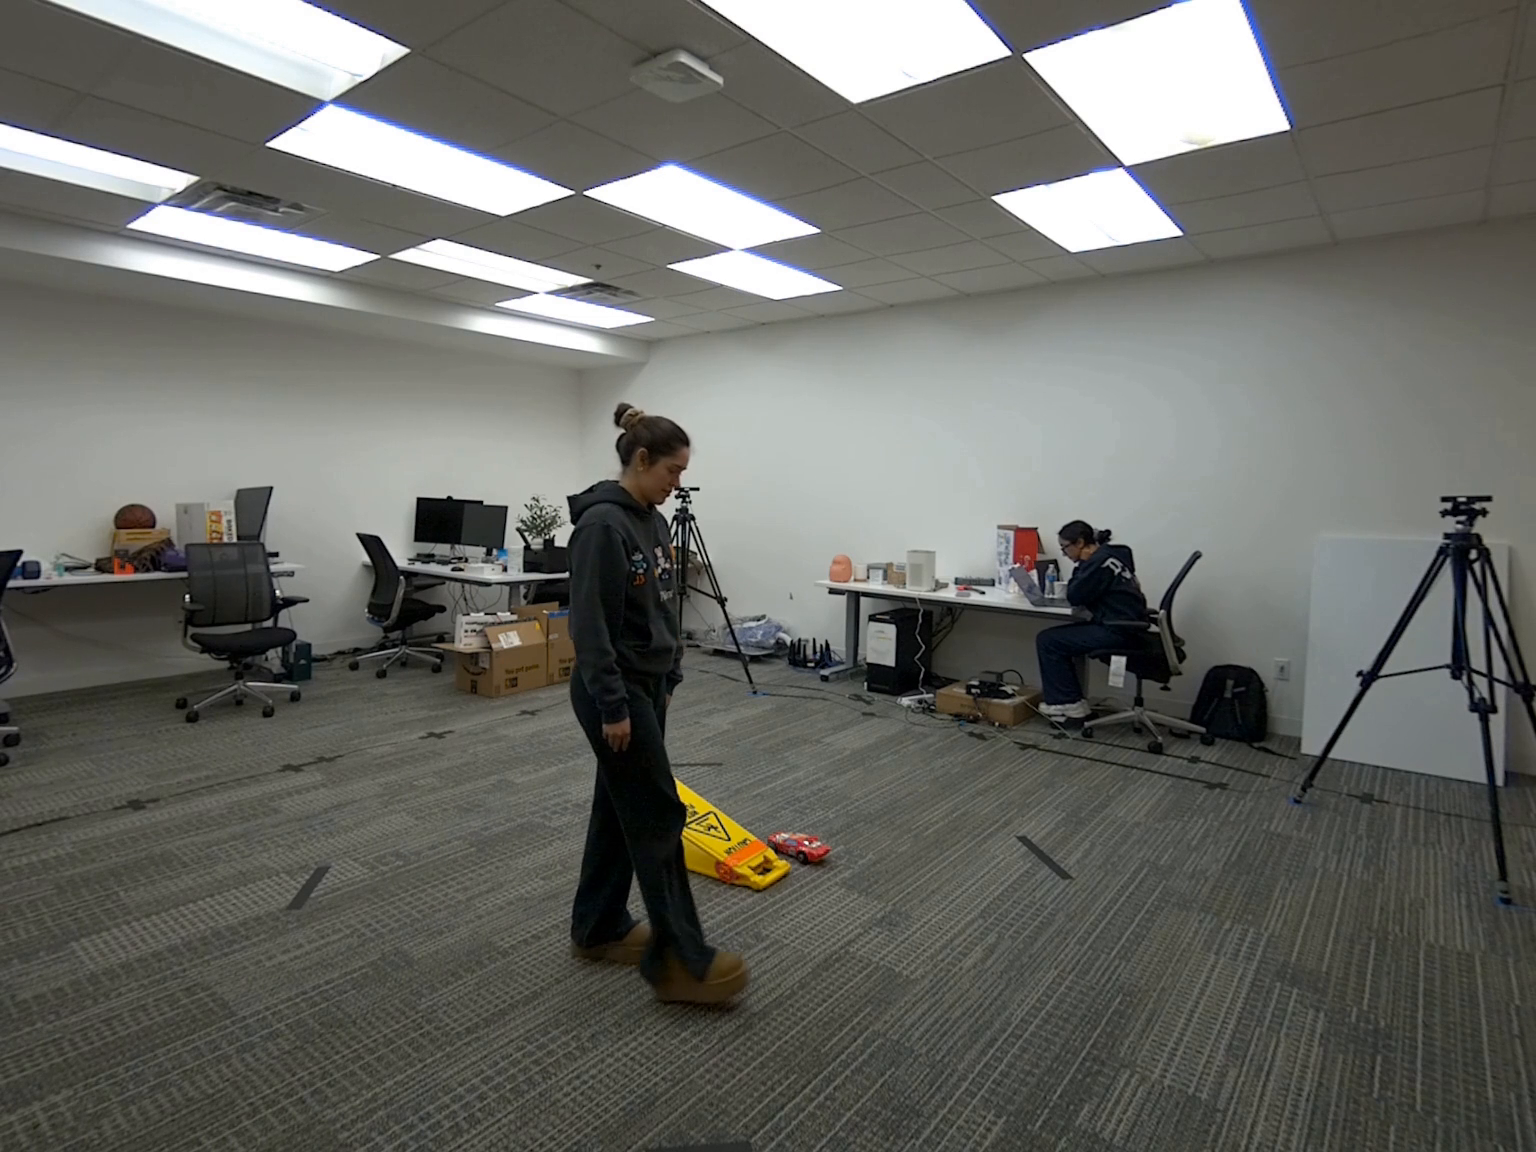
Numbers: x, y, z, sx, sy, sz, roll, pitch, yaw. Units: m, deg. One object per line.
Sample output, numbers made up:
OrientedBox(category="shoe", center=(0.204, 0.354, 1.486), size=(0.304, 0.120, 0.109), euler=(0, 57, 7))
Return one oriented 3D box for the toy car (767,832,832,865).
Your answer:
OrientedBox(category="toy car", center=(0.121, 1.026, 3.235), size=(0.261, 0.083, 0.126), euler=(-9, -3, 42))
